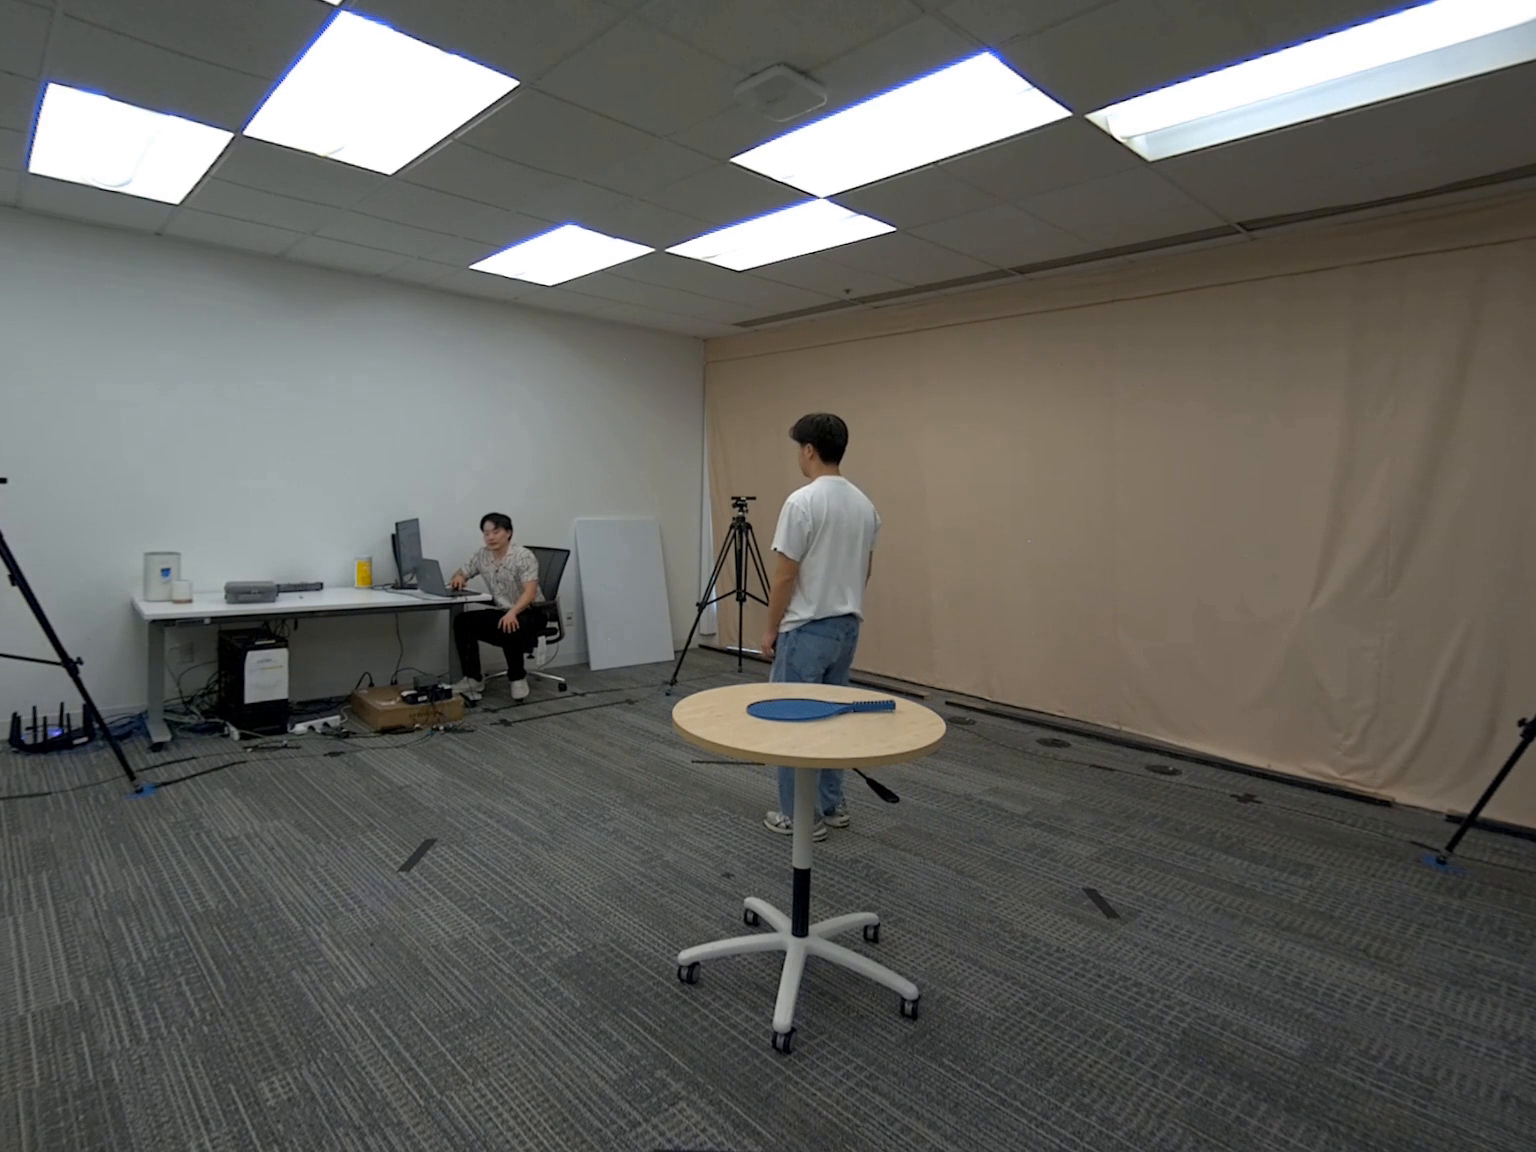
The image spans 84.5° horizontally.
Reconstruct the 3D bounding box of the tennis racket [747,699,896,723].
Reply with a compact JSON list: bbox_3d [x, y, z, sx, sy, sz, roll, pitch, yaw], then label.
[{"bbox_3d":[0.155,0.383,2.416,0.430,0.031,0.216,-1,6,-10],"label":"tennis racket"}]
